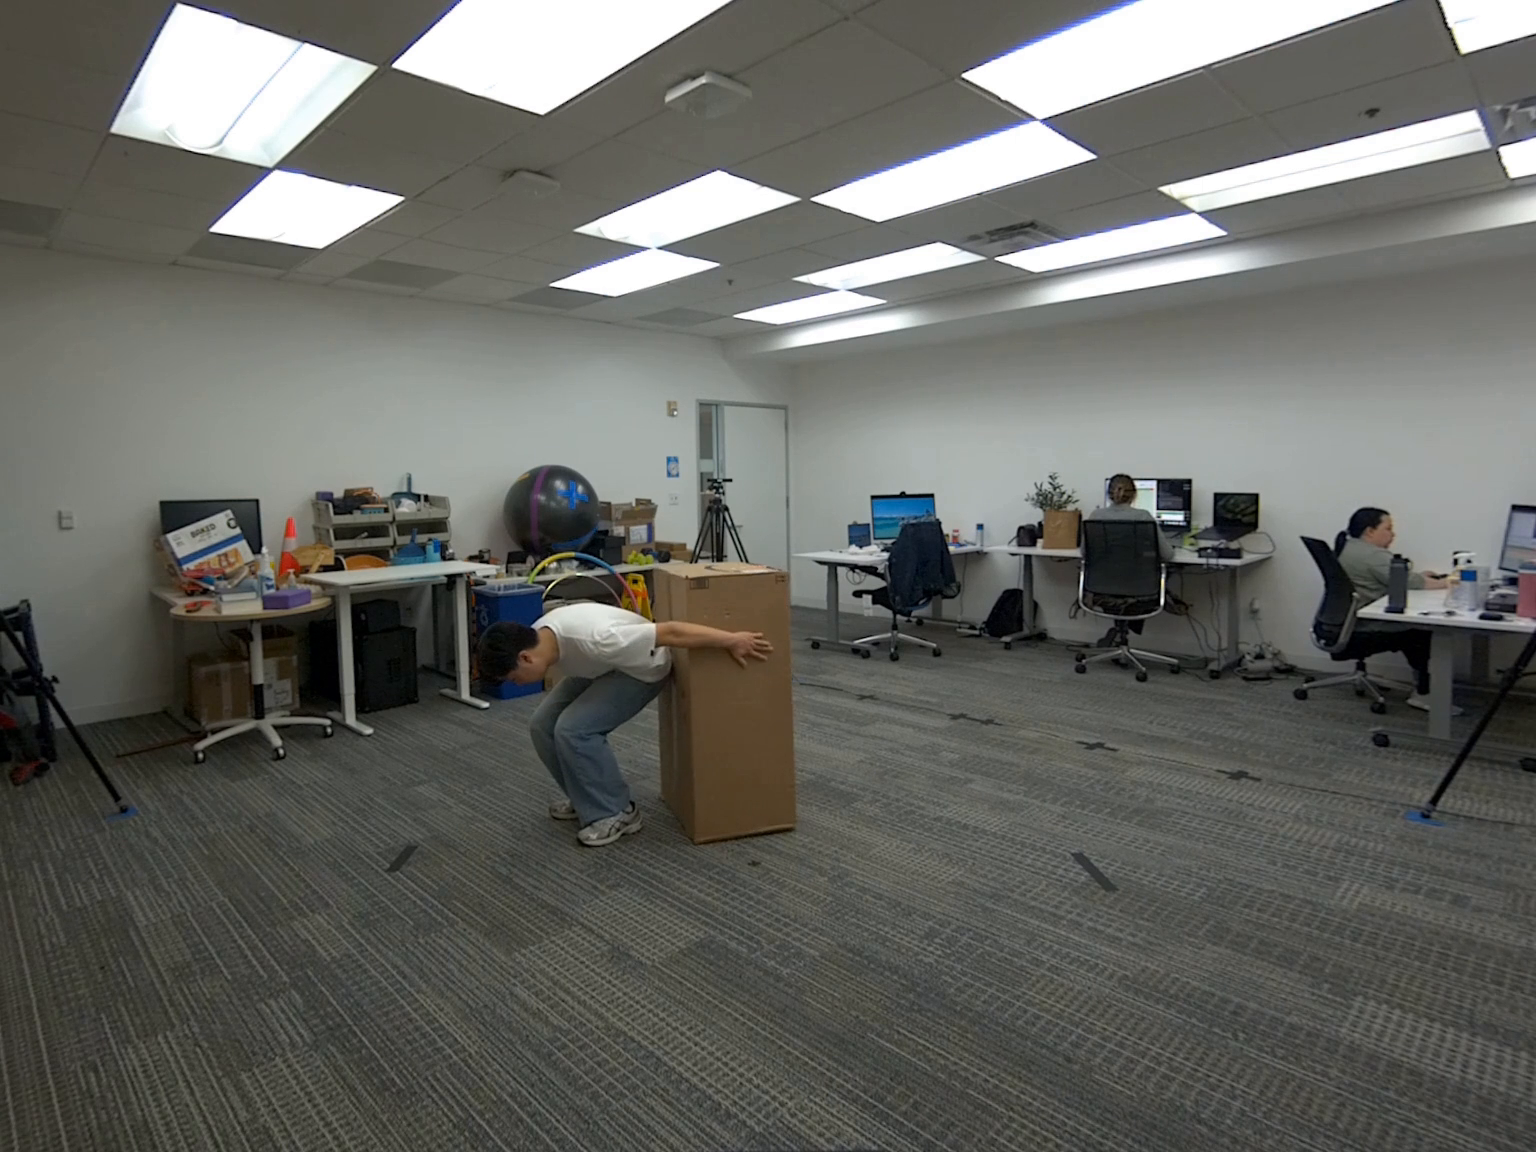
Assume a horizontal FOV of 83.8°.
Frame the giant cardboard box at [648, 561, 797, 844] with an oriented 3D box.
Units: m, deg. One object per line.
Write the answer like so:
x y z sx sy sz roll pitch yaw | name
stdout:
-0.200 0.473 3.587 0.419 1.024 0.589 -3 2 -21 | giant cardboard box
